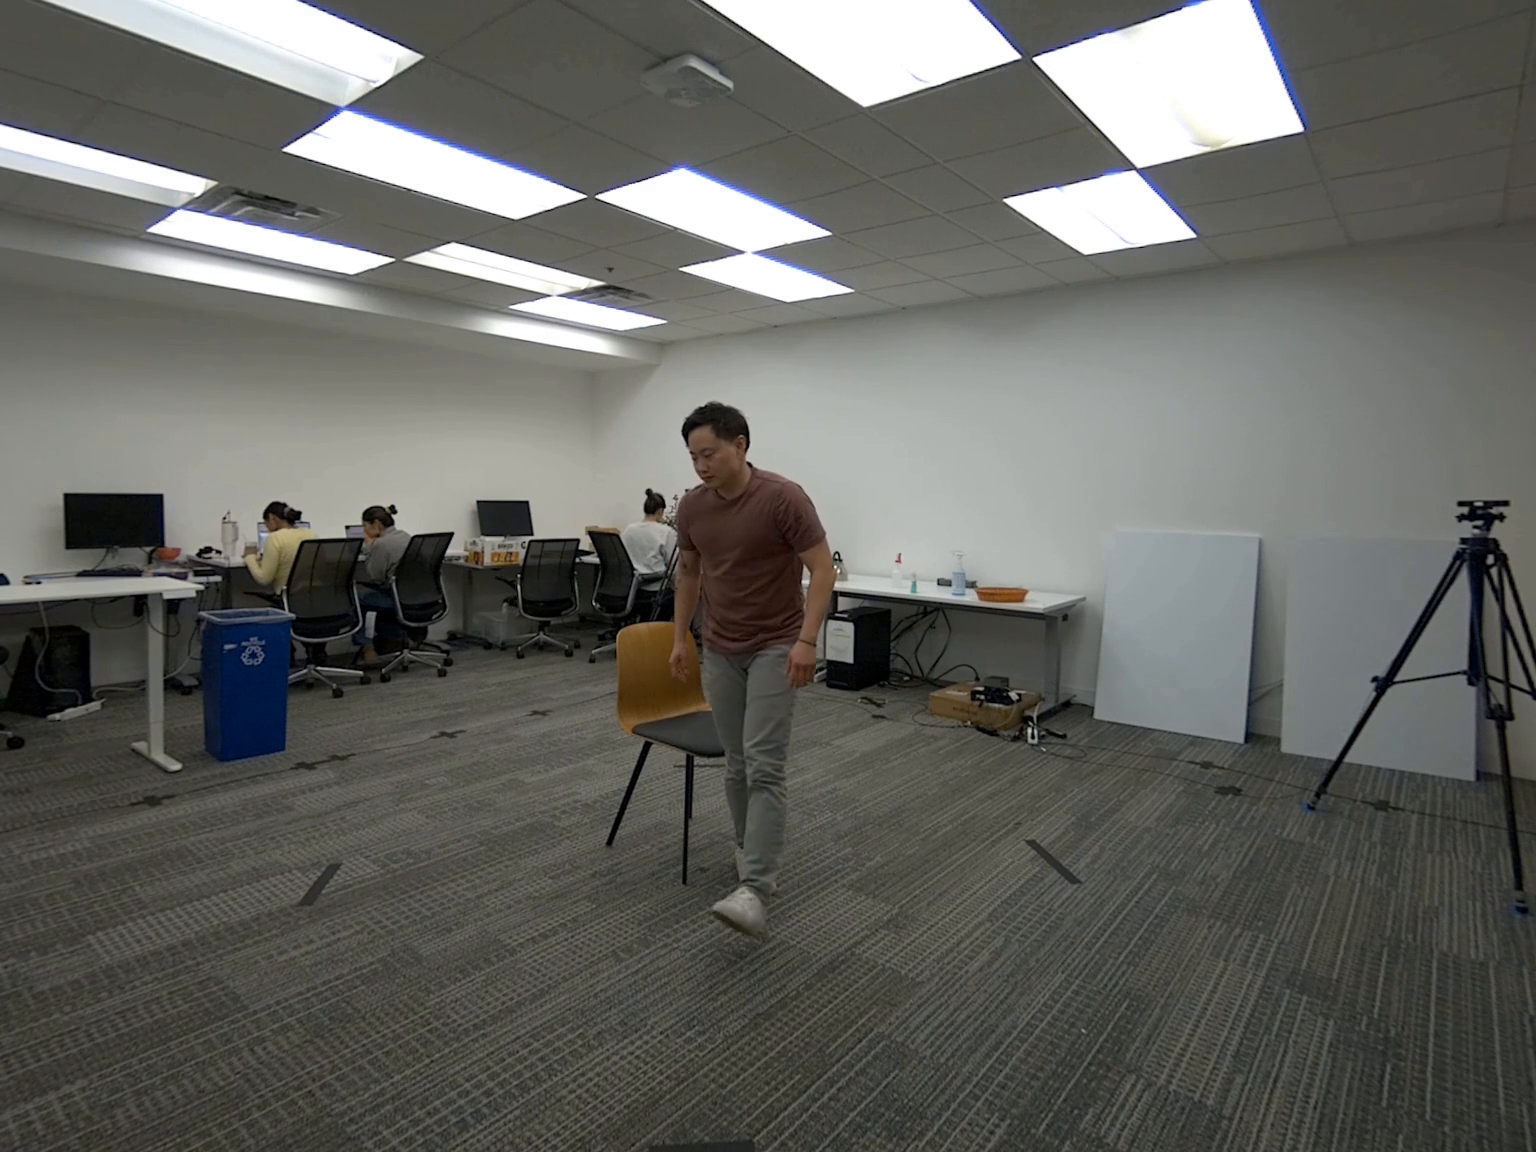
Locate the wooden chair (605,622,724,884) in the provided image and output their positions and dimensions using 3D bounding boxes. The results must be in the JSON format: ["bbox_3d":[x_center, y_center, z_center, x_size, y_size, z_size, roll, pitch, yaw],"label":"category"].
[{"bbox_3d":[-0.308,0.628,3.274,0.539,0.878,0.463,-2,0,44],"label":"wooden chair"}]
